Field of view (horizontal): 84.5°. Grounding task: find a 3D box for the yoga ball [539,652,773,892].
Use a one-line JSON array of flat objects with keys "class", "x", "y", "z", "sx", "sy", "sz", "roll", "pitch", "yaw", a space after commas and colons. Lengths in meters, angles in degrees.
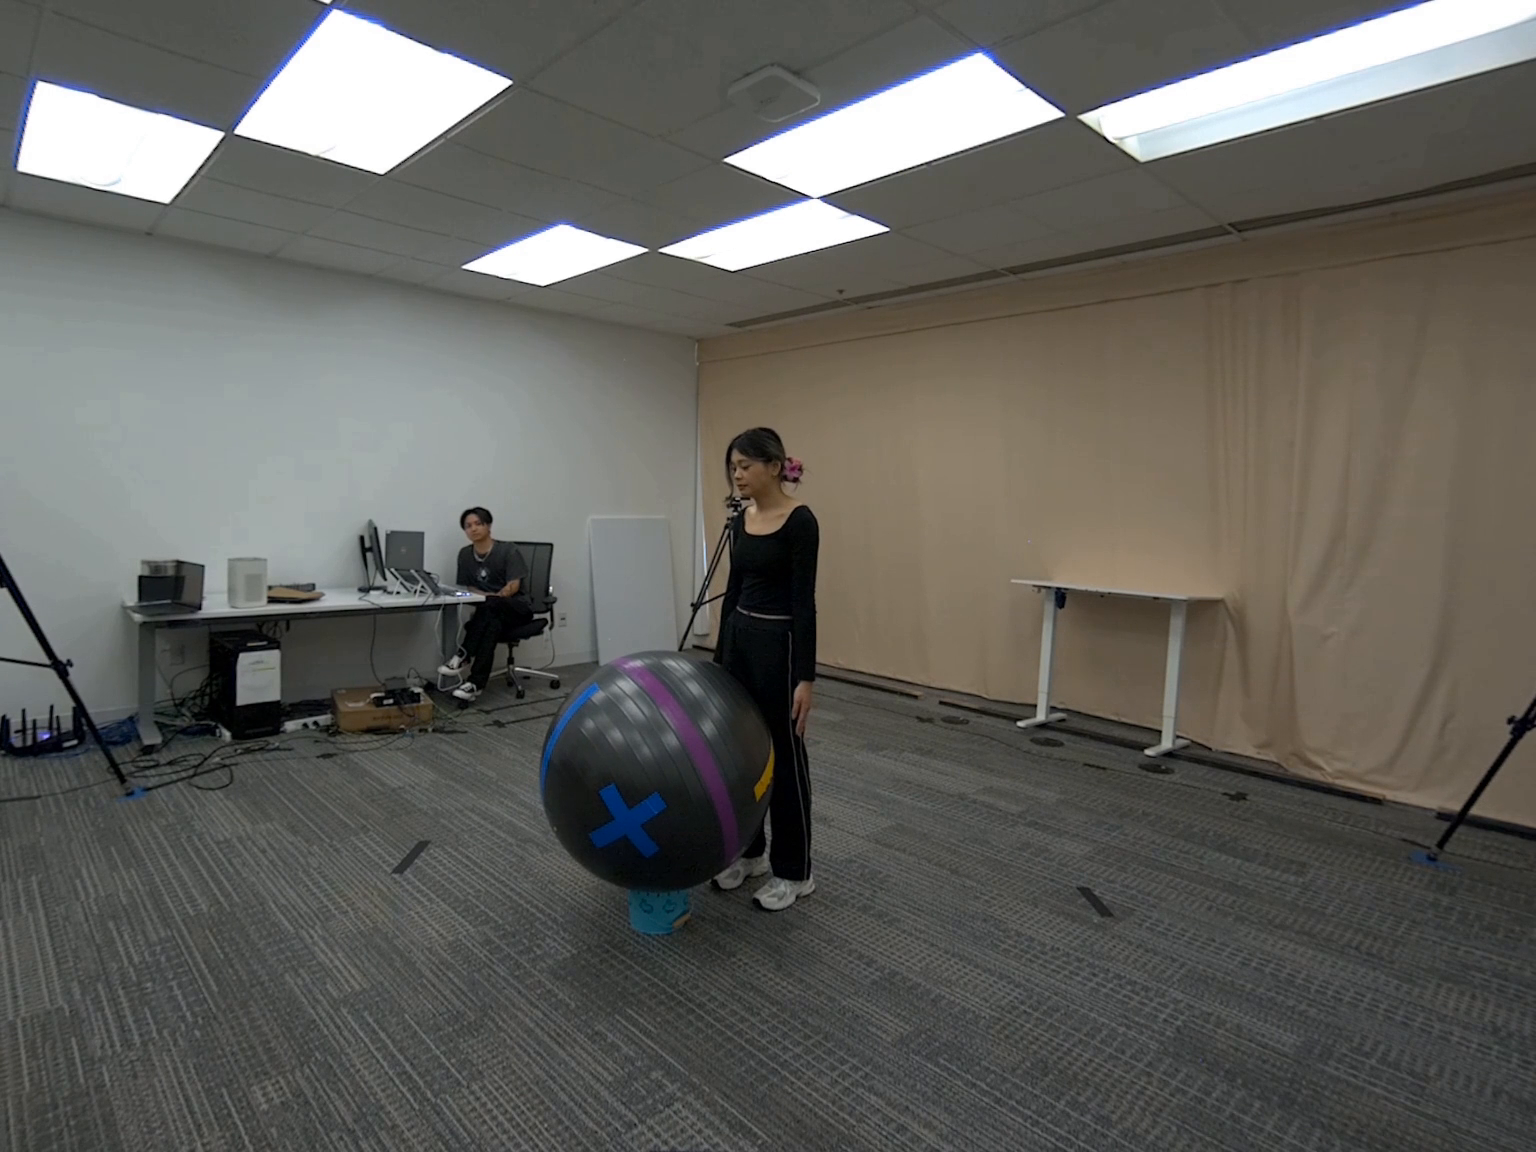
[{"class": "yoga ball", "x": -0.356, "y": 0.633, "z": 2.732, "sx": 0.757, "sy": 0.756, "sz": 0.761, "roll": 1, "pitch": 4, "yaw": -1}]
